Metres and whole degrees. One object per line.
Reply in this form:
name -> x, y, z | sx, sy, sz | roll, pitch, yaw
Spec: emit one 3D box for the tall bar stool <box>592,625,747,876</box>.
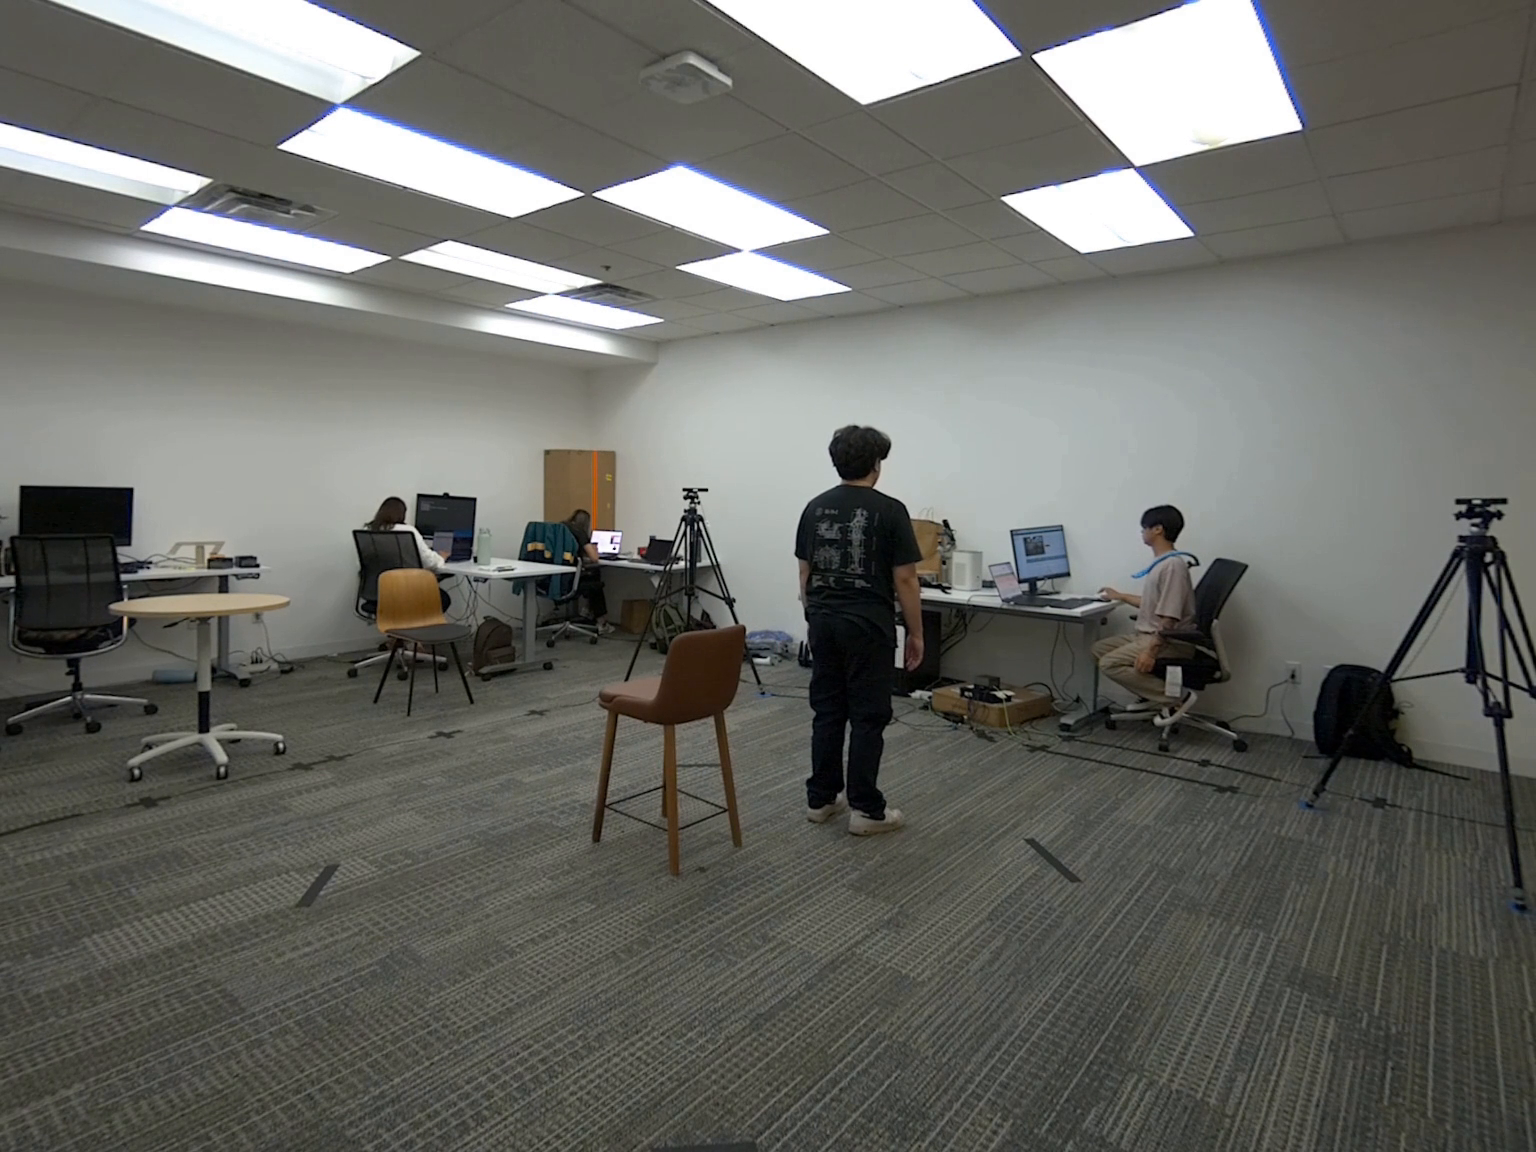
tall bar stool -> -0.393, 0.614, 3.308 | 0.484, 0.887, 0.442 | 5, 5, 40
